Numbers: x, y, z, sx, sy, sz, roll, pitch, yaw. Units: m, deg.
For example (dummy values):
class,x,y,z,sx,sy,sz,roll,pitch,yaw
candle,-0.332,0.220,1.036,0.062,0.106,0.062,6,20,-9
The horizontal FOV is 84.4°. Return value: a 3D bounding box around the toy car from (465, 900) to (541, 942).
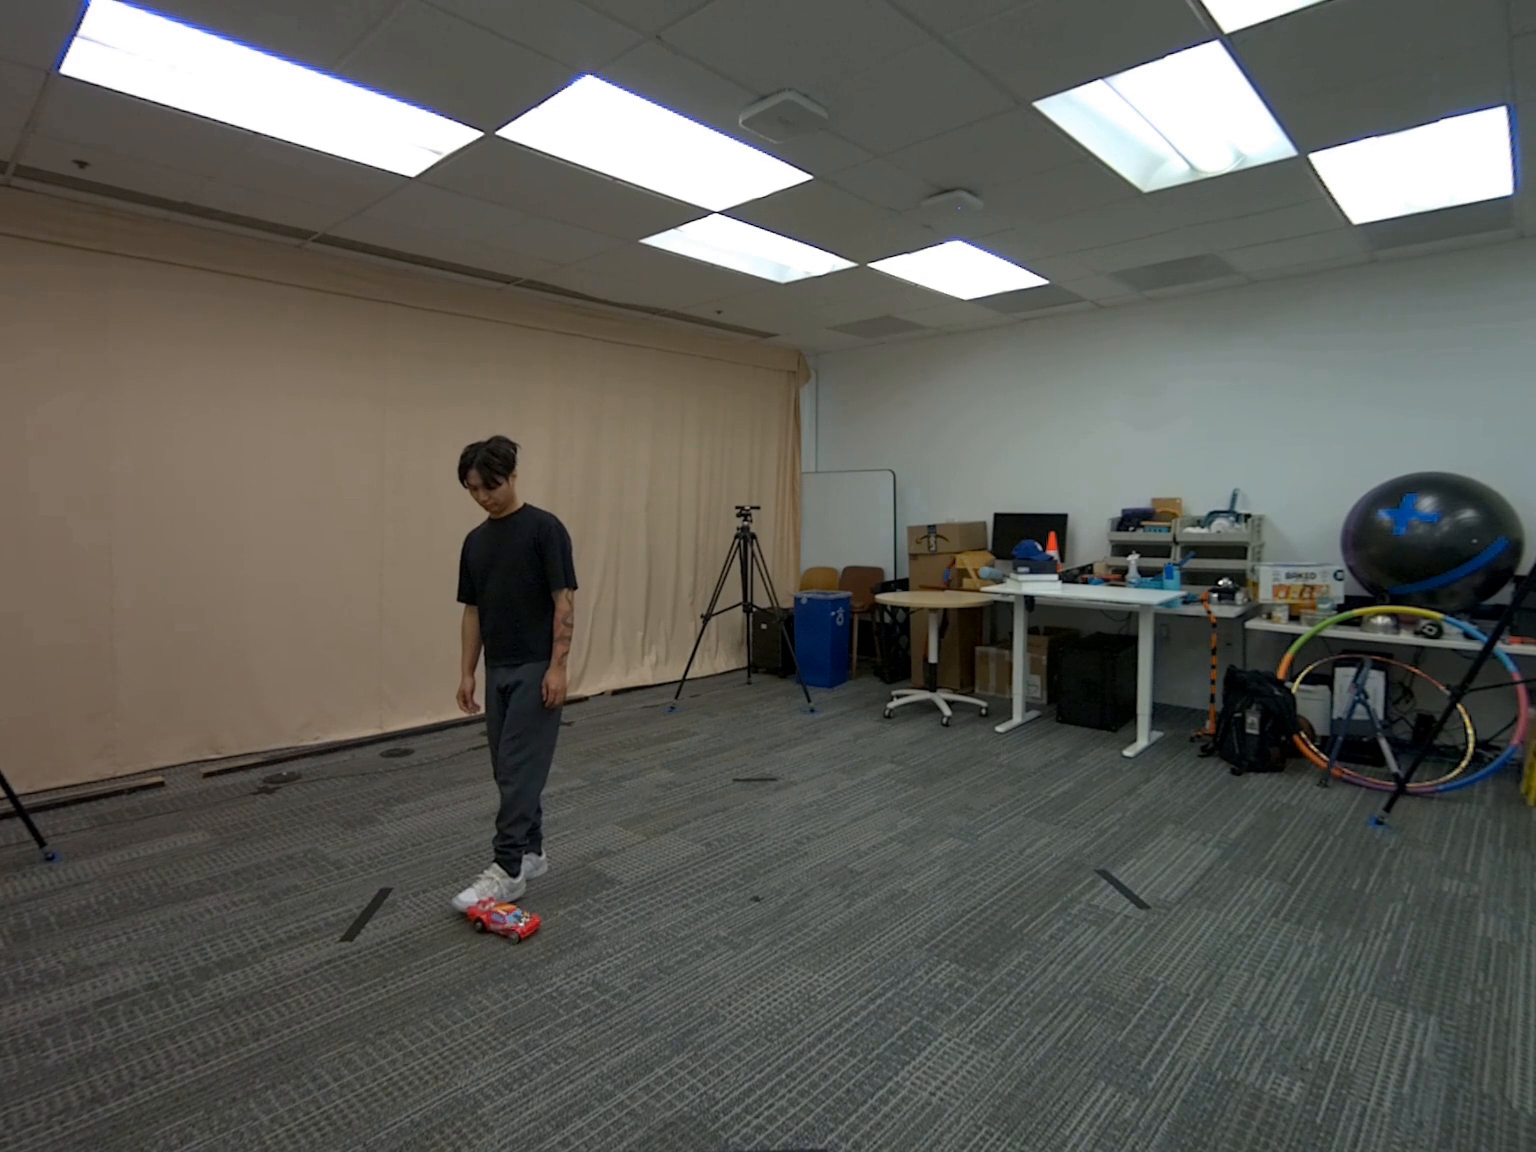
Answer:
class,x,y,z,sx,sy,sz,roll,pitch,yaw
toy car,-0.874,1.137,2.768,0.261,0.083,0.127,15,11,23
